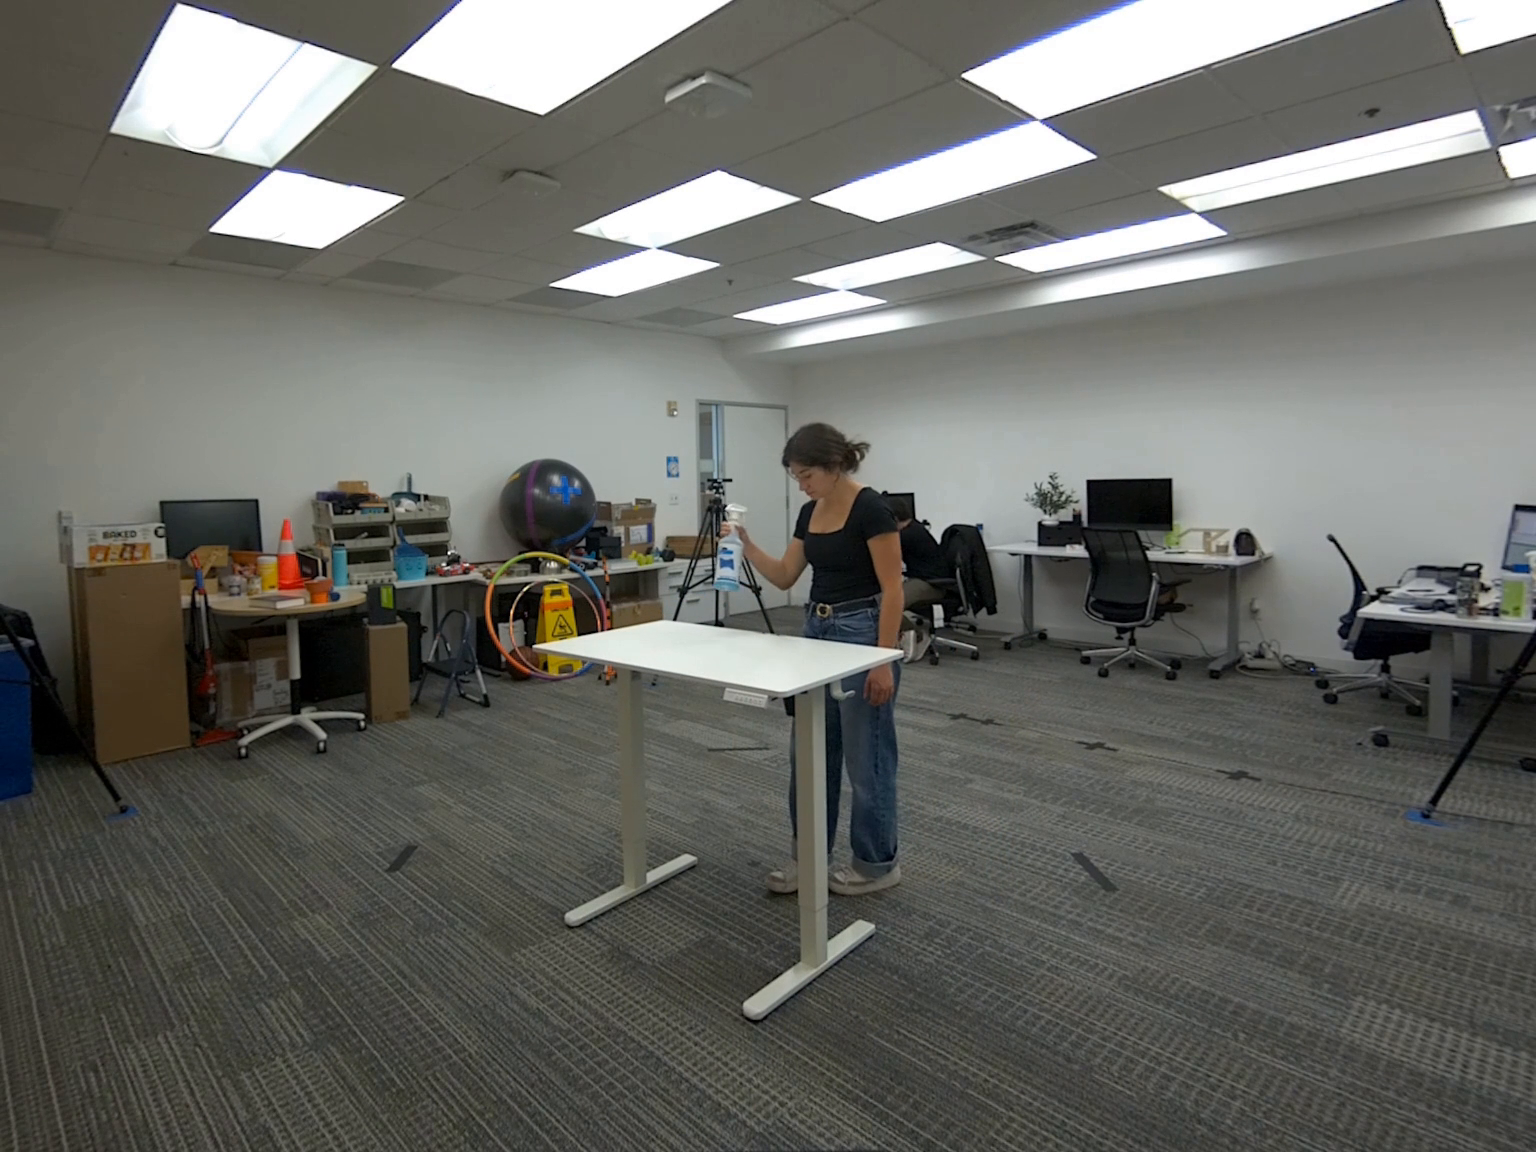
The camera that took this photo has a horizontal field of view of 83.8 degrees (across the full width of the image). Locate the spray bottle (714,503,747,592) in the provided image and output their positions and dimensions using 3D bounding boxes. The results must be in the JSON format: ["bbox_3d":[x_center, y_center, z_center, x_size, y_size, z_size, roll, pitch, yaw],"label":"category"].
[{"bbox_3d":[-0.118,-0.100,2.866,0.089,0.301,0.087,10,-15,-14],"label":"spray bottle"}]
